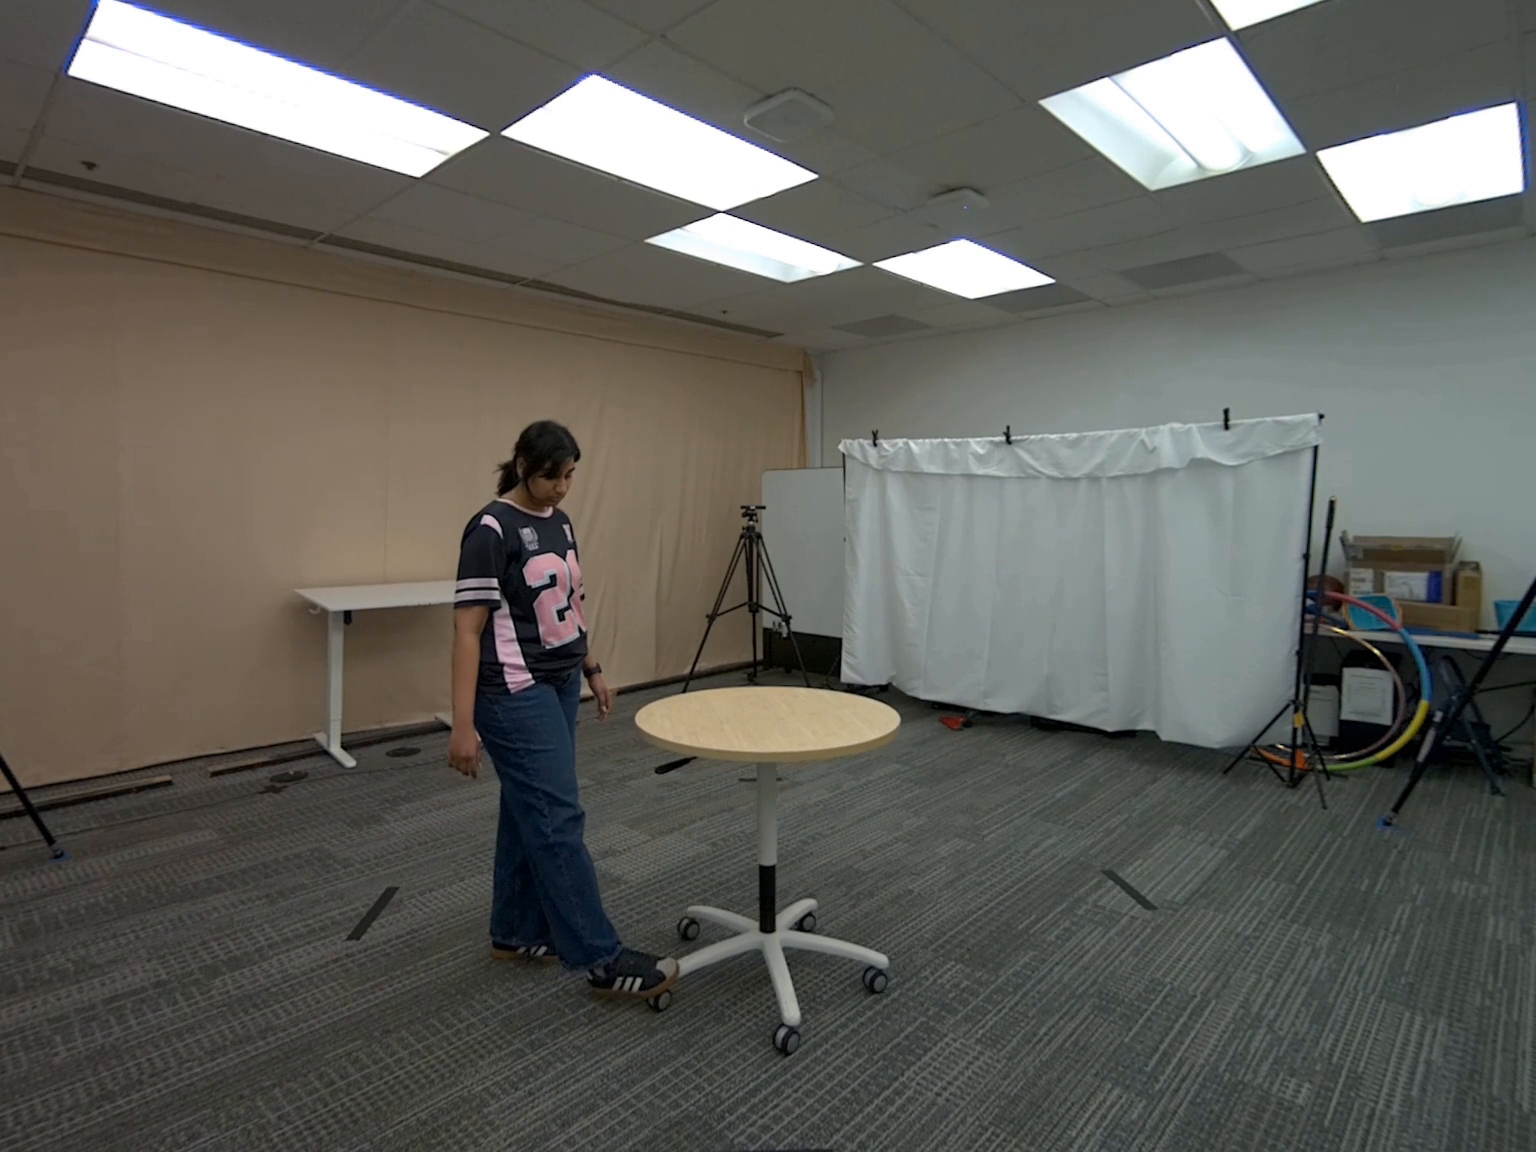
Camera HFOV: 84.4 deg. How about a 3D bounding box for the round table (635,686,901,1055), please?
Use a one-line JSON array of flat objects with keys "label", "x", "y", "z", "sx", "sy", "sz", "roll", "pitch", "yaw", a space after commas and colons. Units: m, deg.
[{"label": "round table", "x": 0.007, "y": 0.801, "z": 2.463, "sx": 0.763, "sy": 0.792, "sz": 0.766, "roll": 0, "pitch": 3, "yaw": -2}]
